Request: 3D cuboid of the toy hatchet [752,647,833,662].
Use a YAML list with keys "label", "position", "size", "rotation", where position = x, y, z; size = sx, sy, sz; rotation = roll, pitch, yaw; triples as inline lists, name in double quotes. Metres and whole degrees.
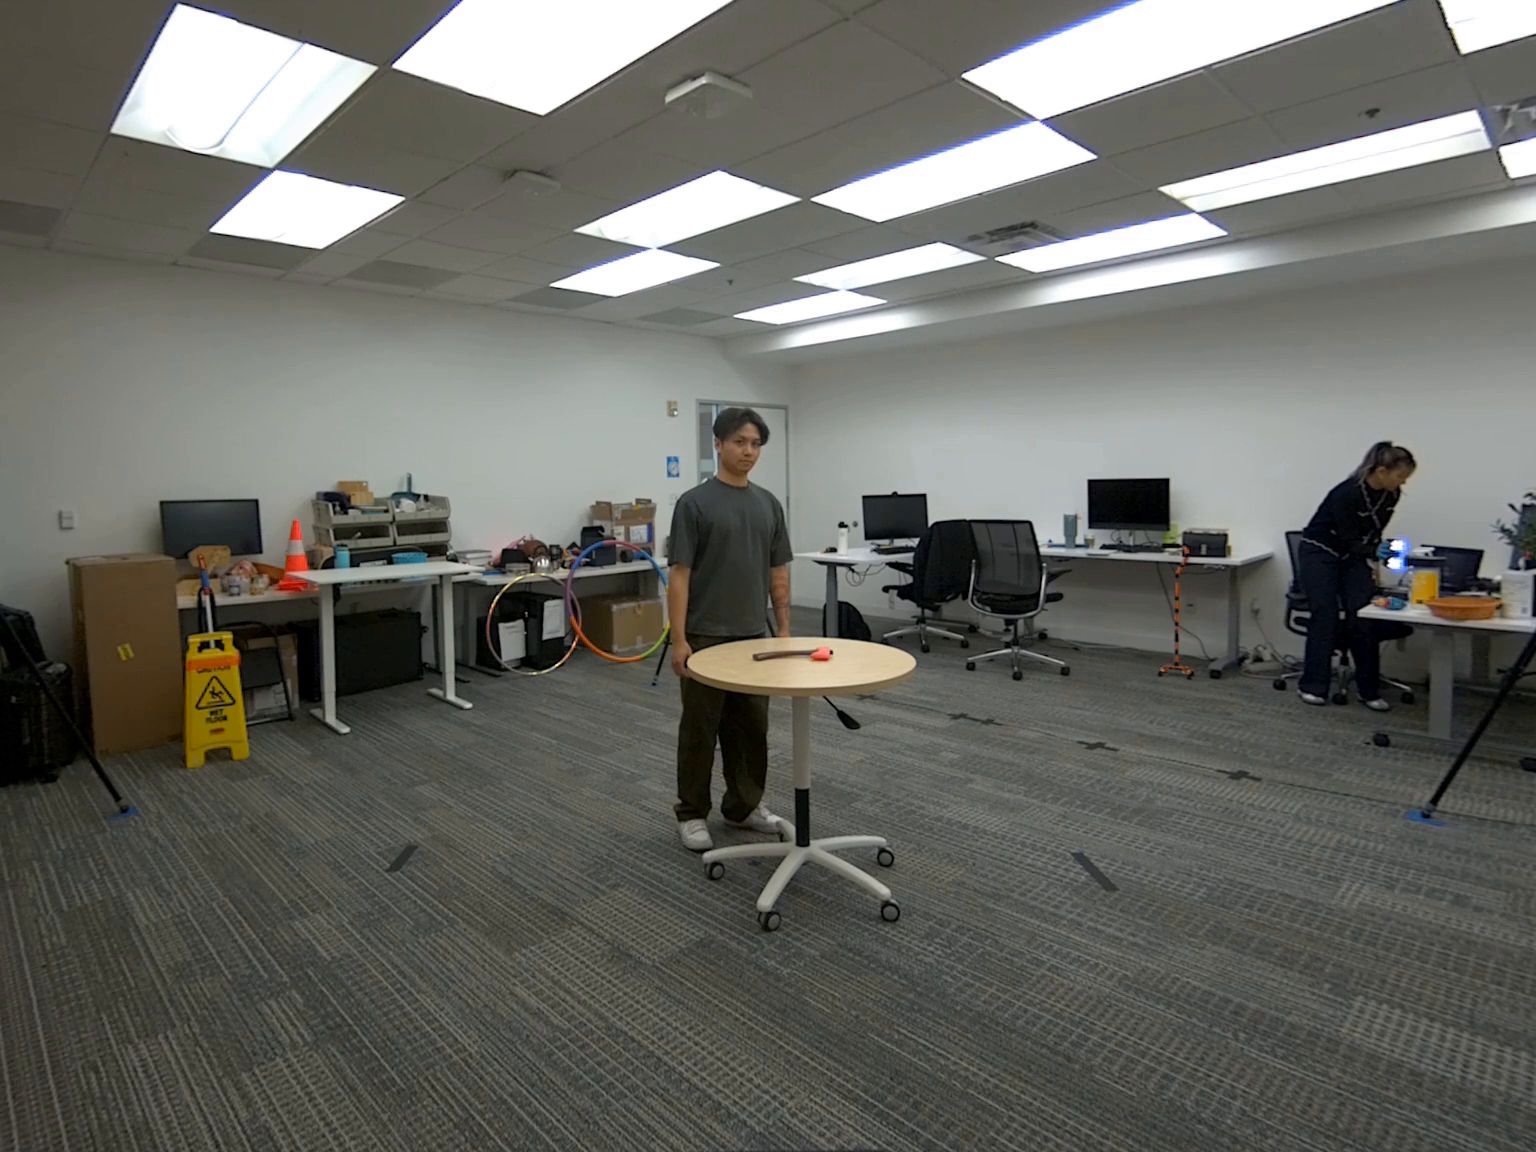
- label: "toy hatchet"
  position: [0.109, 0.271, 2.890]
  size: [0.266, 0.029, 0.134]
  rotation: [-5, 12, -19]
